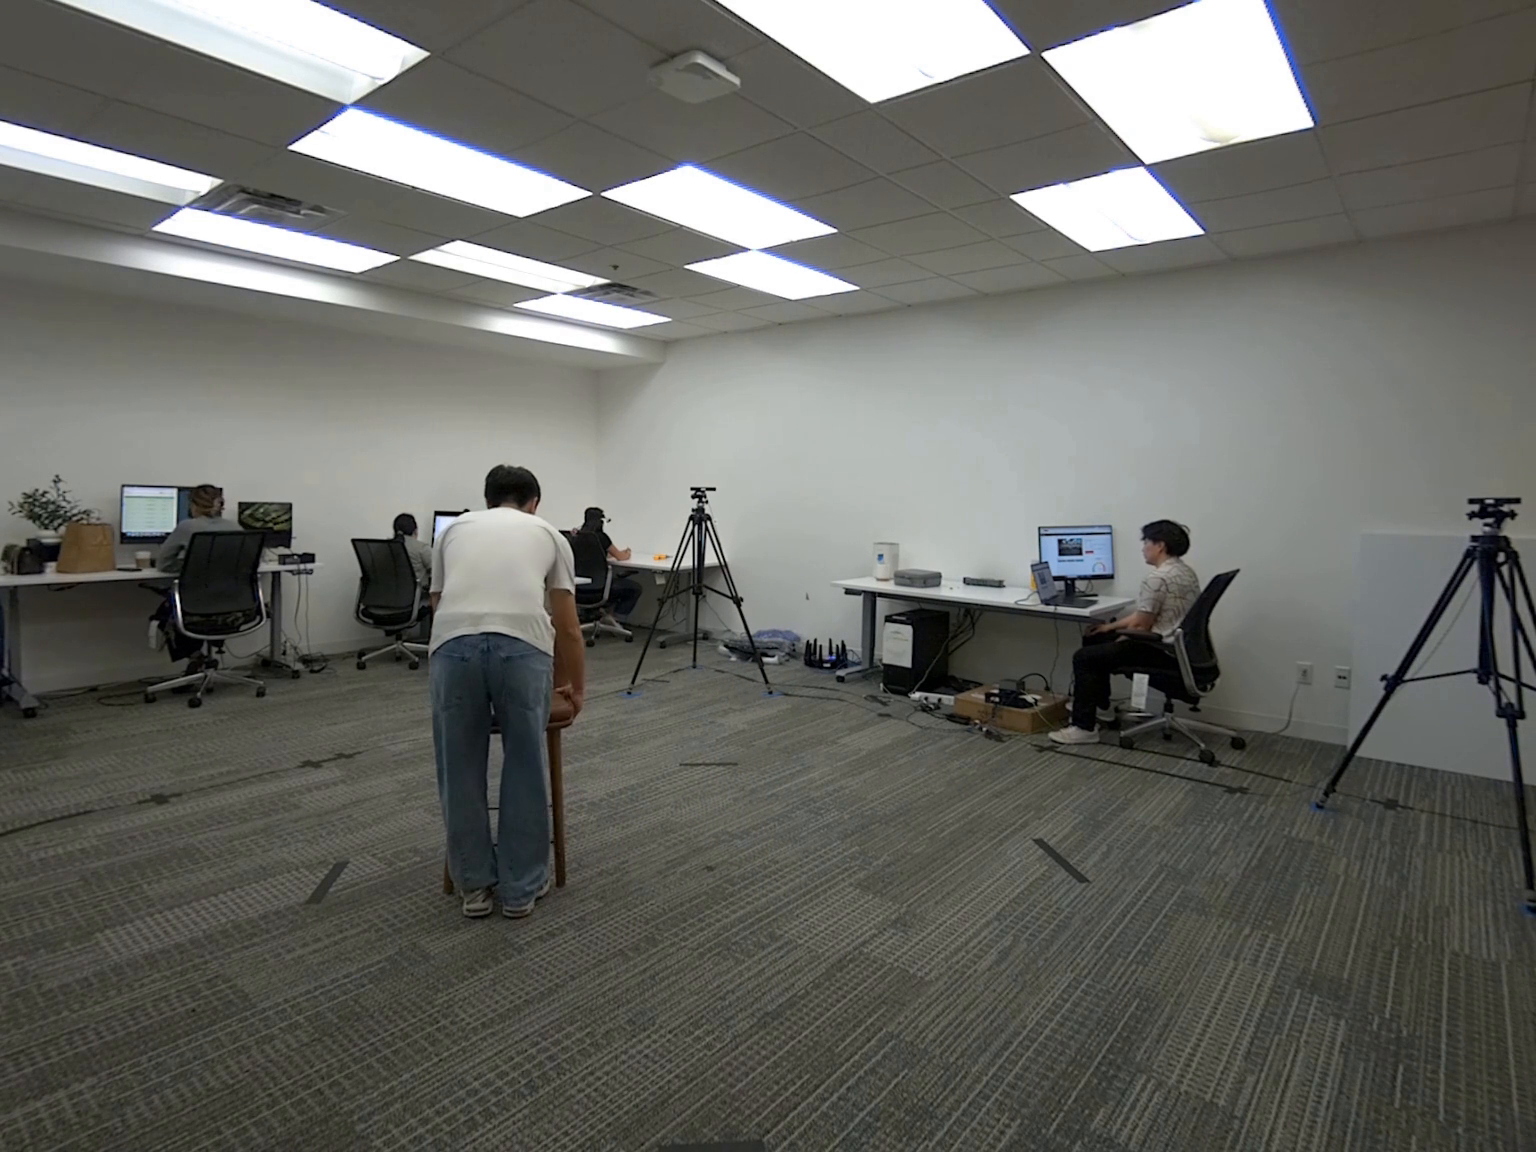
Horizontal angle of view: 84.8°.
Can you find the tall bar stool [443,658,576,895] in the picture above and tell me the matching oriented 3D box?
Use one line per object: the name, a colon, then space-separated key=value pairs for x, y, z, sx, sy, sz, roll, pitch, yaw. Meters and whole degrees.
tall bar stool: x=-0.950 y=0.612 z=3.119 sx=0.451 sy=0.889 sz=0.474 roll=0 pitch=1 yaw=-12
